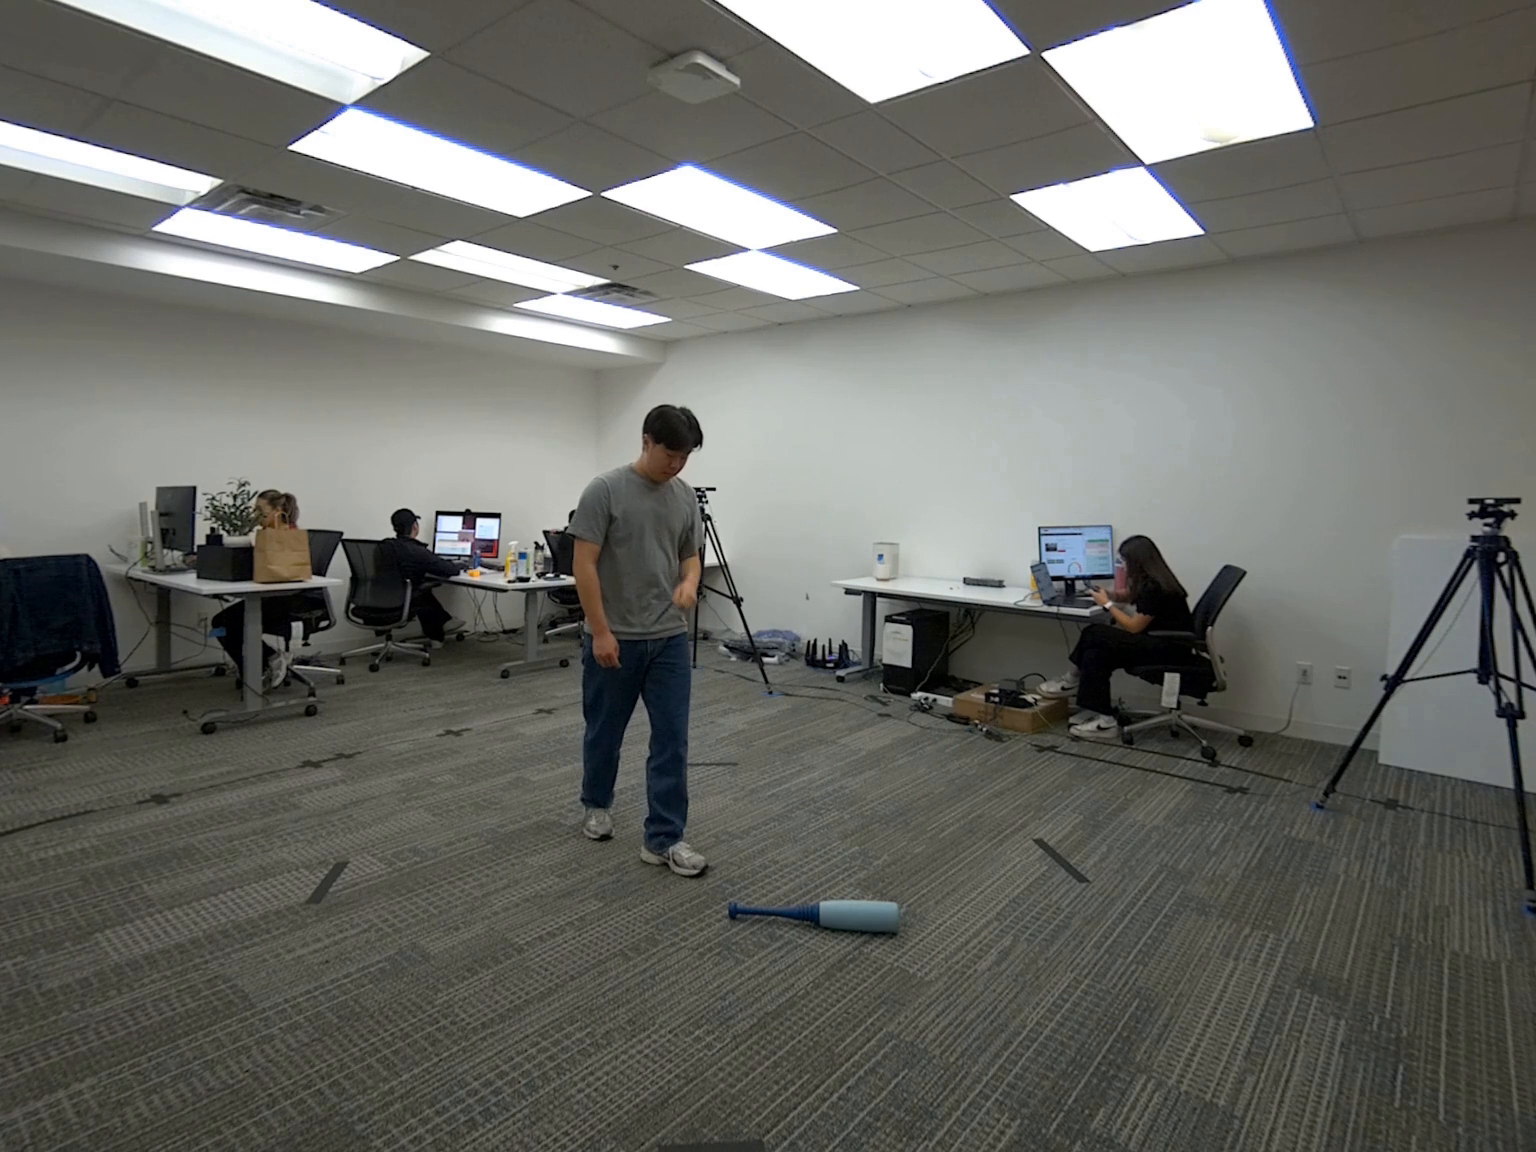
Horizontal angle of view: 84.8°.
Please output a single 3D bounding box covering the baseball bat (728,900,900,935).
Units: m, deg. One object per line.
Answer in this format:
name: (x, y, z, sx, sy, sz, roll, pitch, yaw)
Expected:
baseball bat: (0.137, 1.076, 2.714, 0.546, 0.089, 0.089, -1, 4, 6)
